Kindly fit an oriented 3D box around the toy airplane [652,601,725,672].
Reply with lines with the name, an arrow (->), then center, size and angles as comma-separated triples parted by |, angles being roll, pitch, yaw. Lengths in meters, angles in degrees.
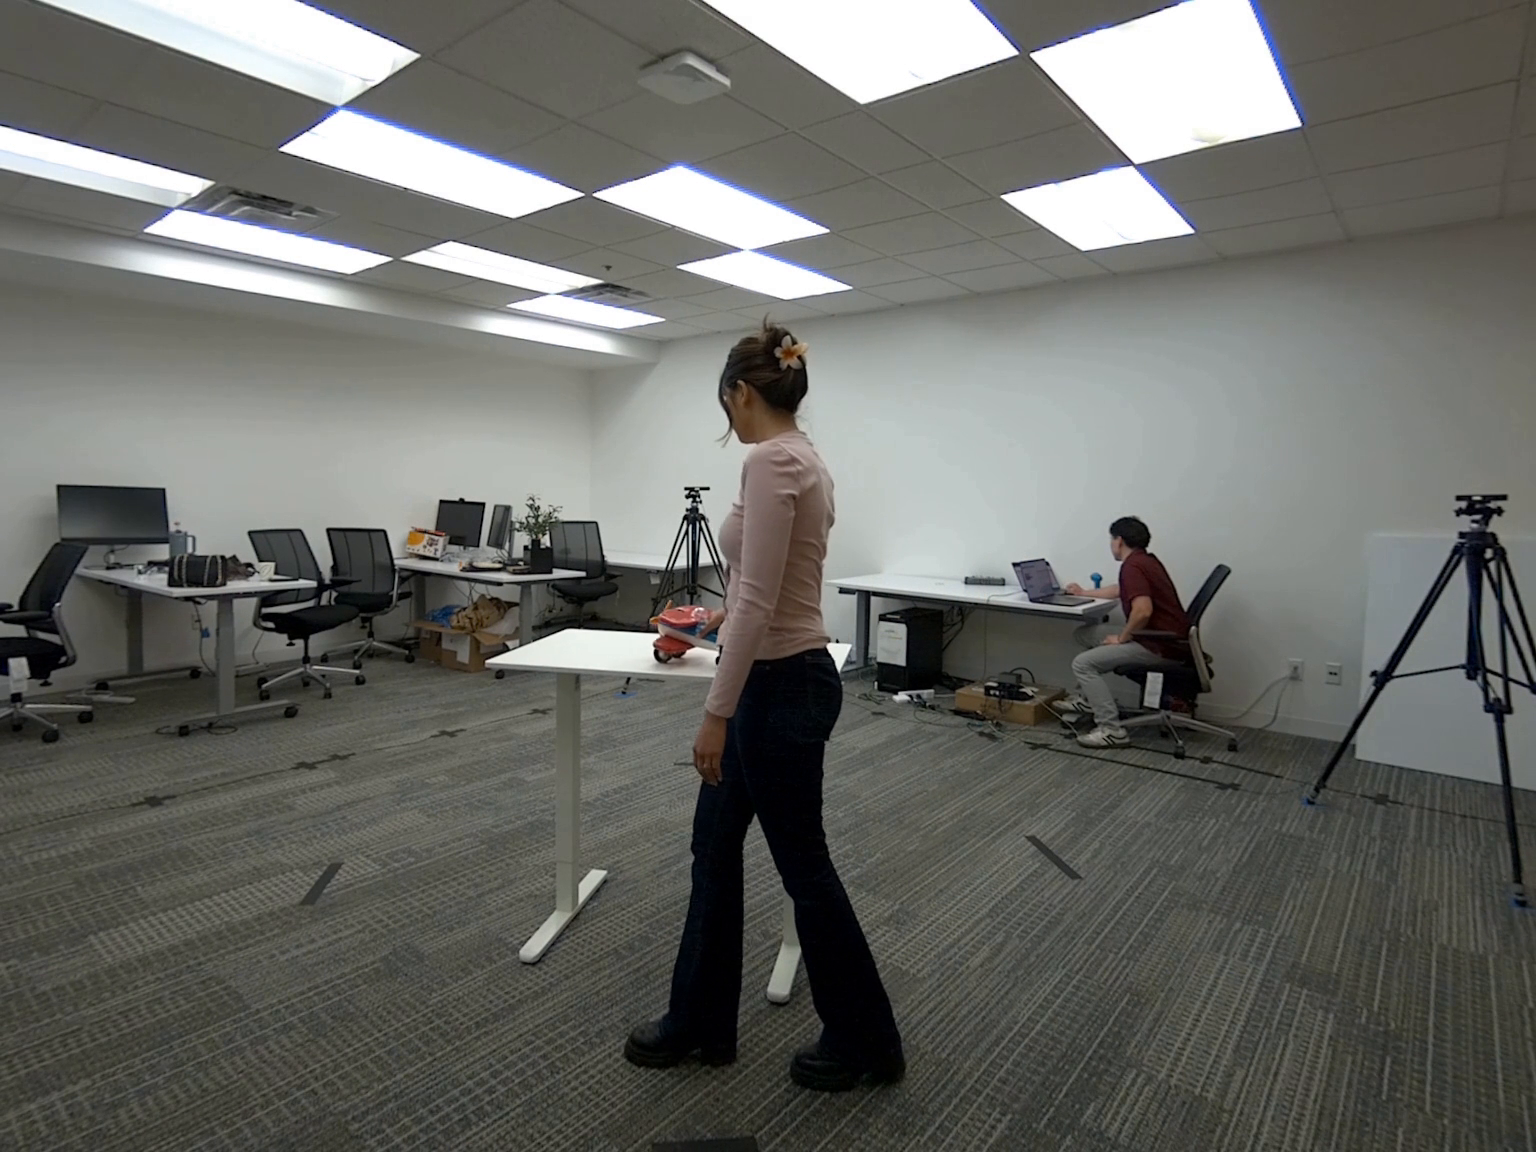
toy airplane -> -0.212, 0.172, 2.481 | 0.258, 0.156, 0.254 | 0, 6, -5
